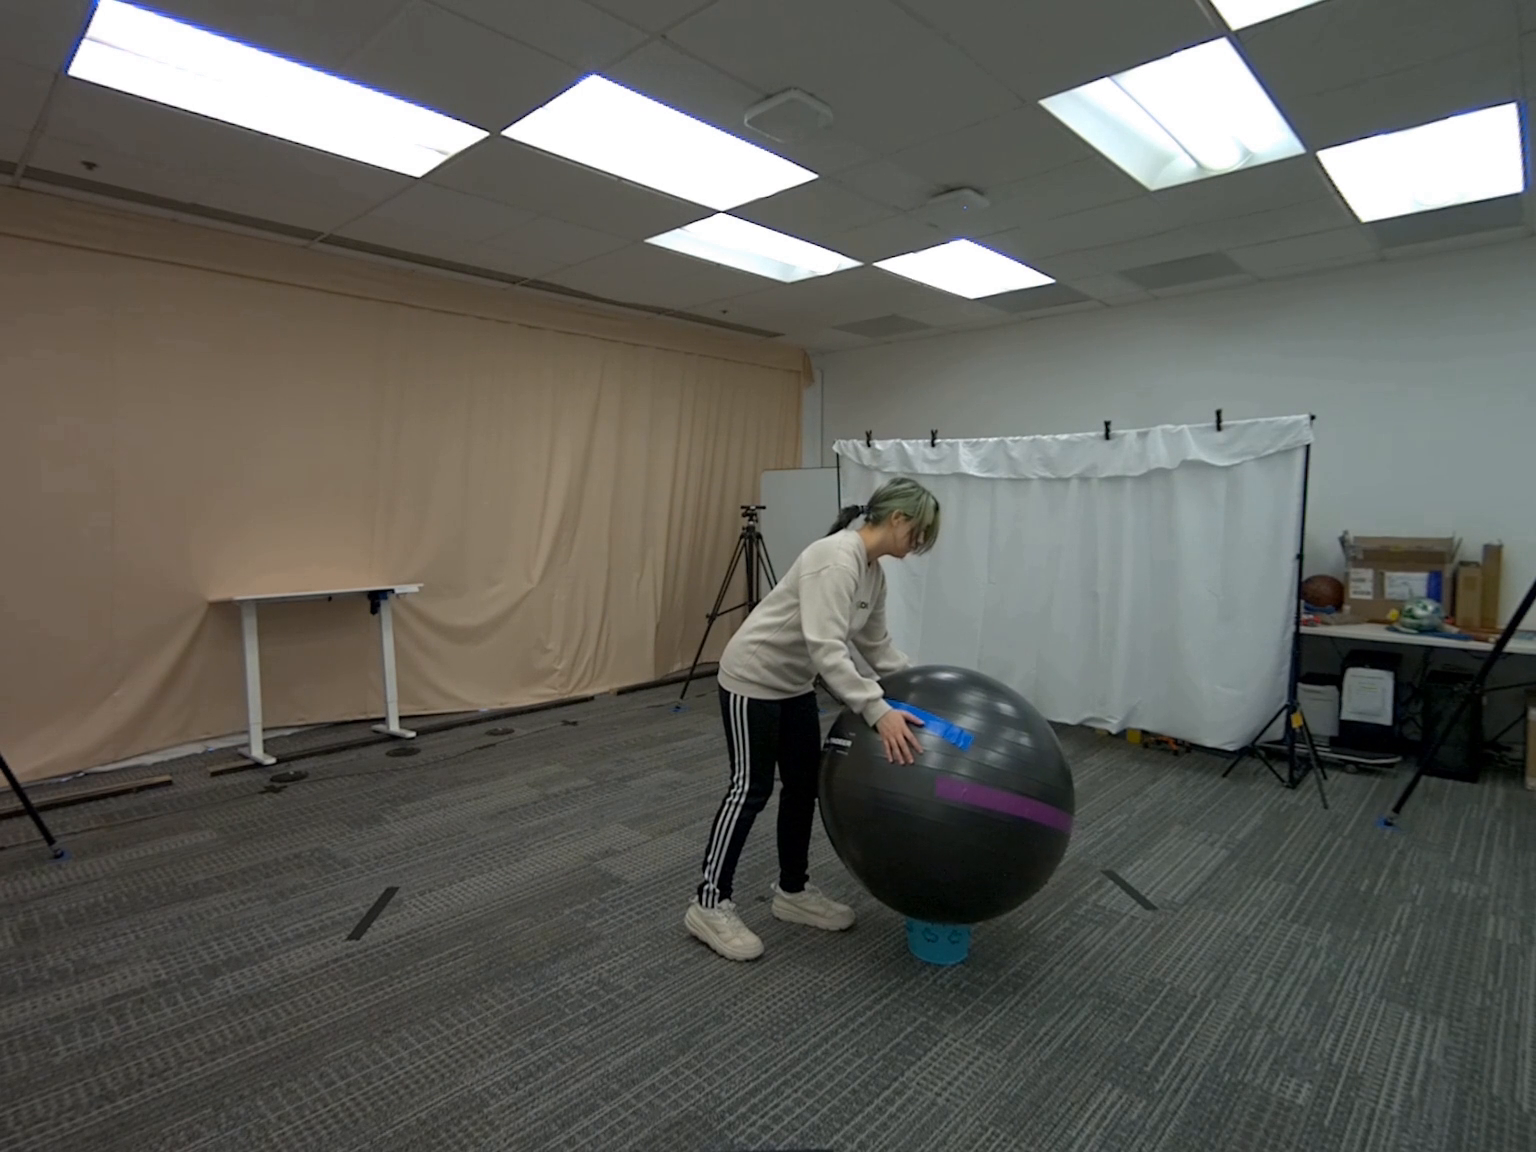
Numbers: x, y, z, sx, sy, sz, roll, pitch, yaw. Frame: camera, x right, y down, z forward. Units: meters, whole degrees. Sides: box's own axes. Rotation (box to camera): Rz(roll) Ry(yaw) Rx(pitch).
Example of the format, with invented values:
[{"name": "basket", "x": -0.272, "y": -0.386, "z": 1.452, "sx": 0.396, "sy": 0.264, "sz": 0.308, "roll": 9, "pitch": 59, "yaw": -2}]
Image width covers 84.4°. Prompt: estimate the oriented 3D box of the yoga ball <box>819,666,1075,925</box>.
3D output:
[{"name": "yoga ball", "x": 0.548, "y": 0.665, "z": 2.585, "sx": 0.757, "sy": 0.756, "sz": 0.760, "roll": 0, "pitch": 4, "yaw": -2}]
